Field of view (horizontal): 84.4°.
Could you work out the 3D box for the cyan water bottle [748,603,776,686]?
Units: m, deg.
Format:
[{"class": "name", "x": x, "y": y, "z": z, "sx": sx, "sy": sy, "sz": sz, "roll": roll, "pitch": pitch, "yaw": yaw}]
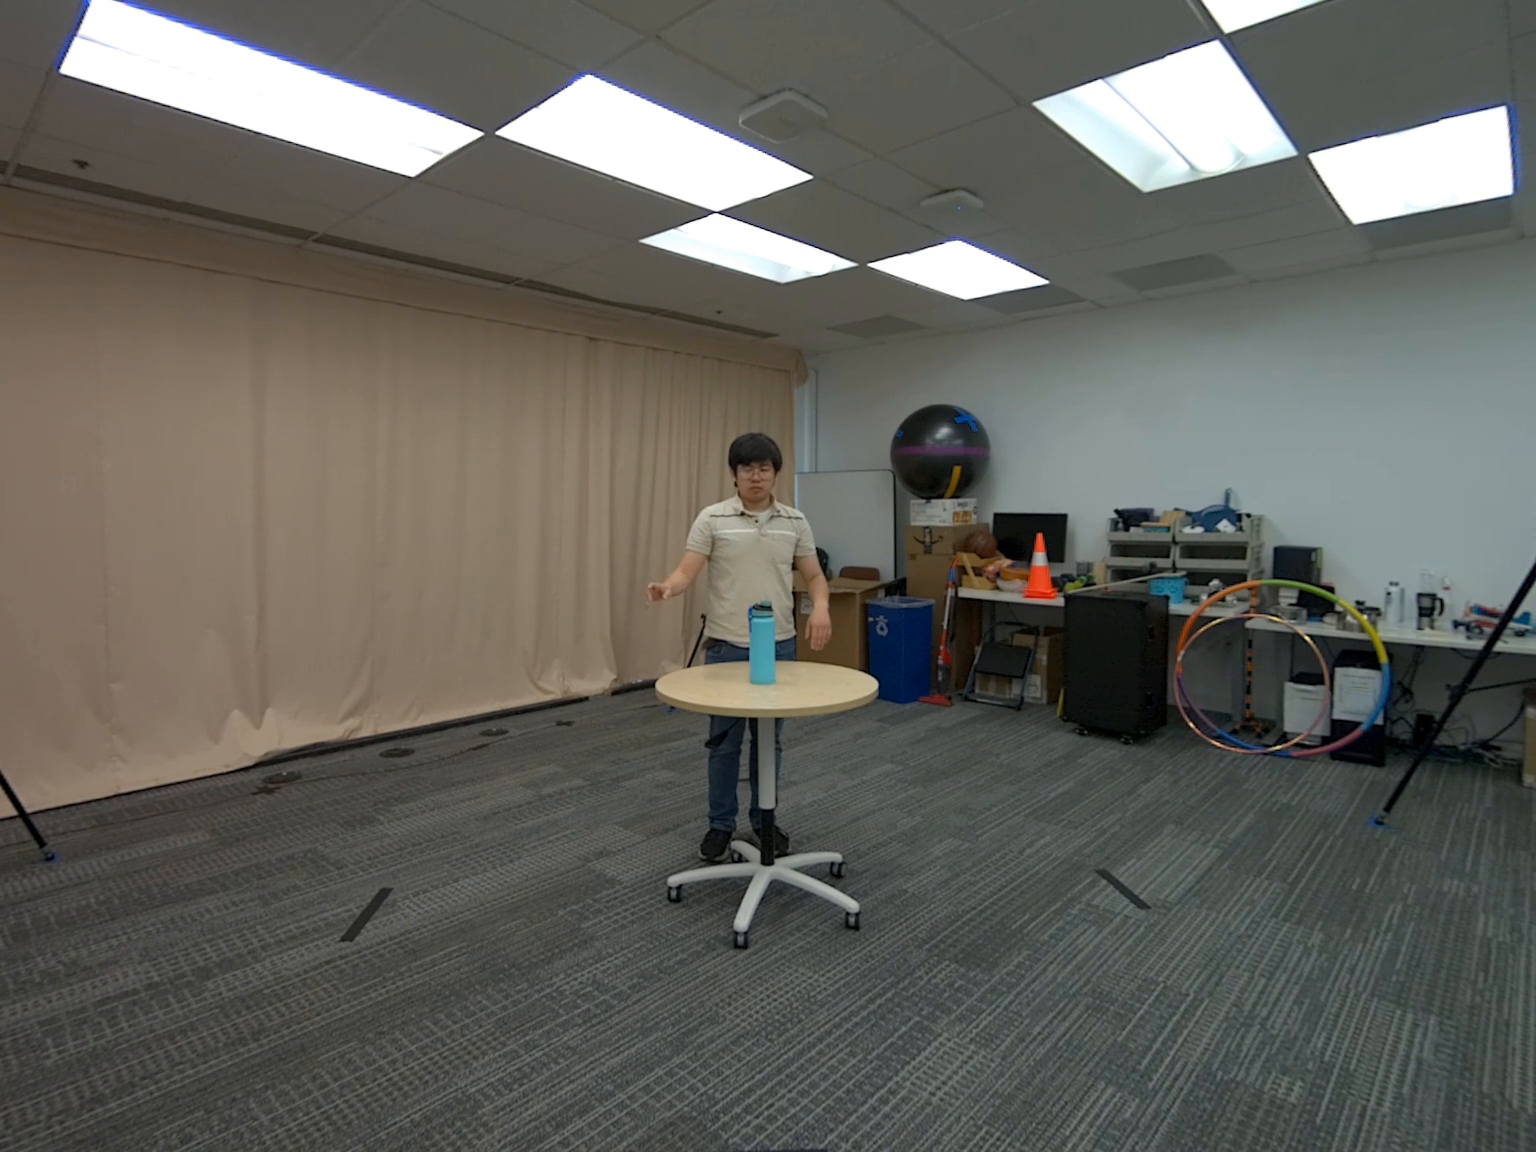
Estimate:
[{"class": "cyan water bottle", "x": -0.016, "y": 0.228, "z": 2.909, "sx": 0.092, "sy": 0.283, "sz": 0.092, "roll": 0, "pitch": 1, "yaw": -2}]
